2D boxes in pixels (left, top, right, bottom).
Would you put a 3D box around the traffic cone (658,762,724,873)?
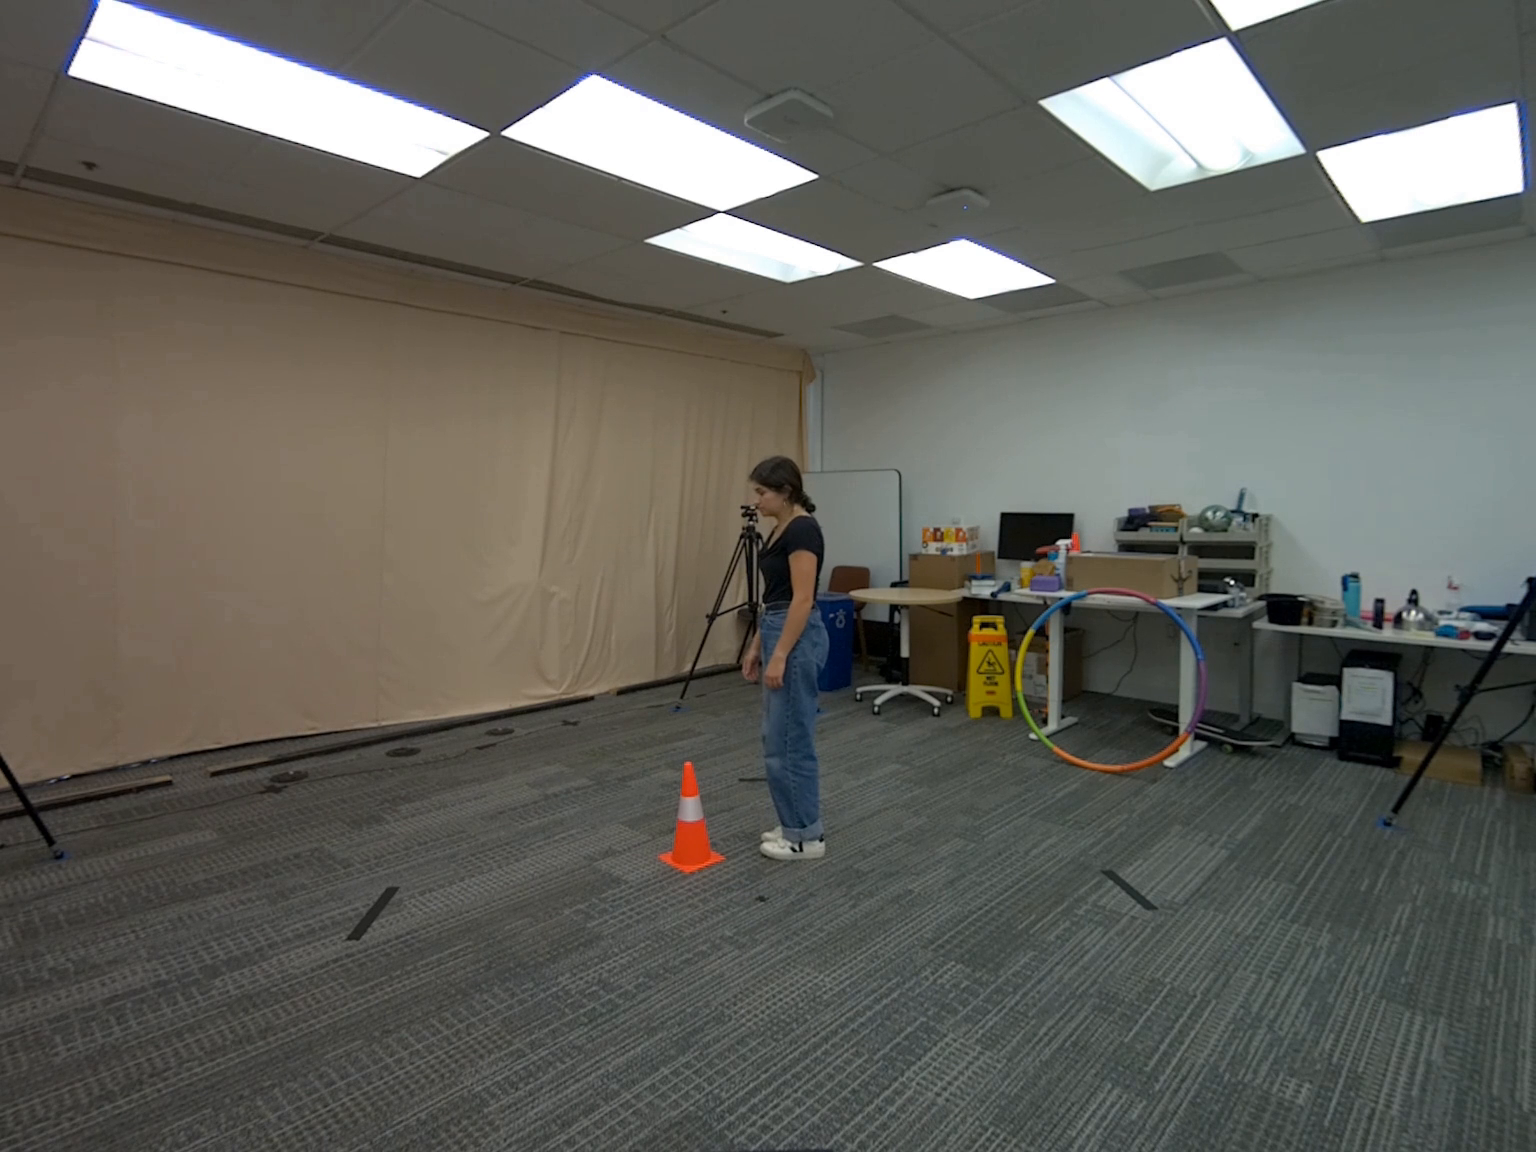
[{"bbox_3d":[-0.302,0.934,3.319,0.210,0.383,0.199,5,6,43],"label":"traffic cone"}]
